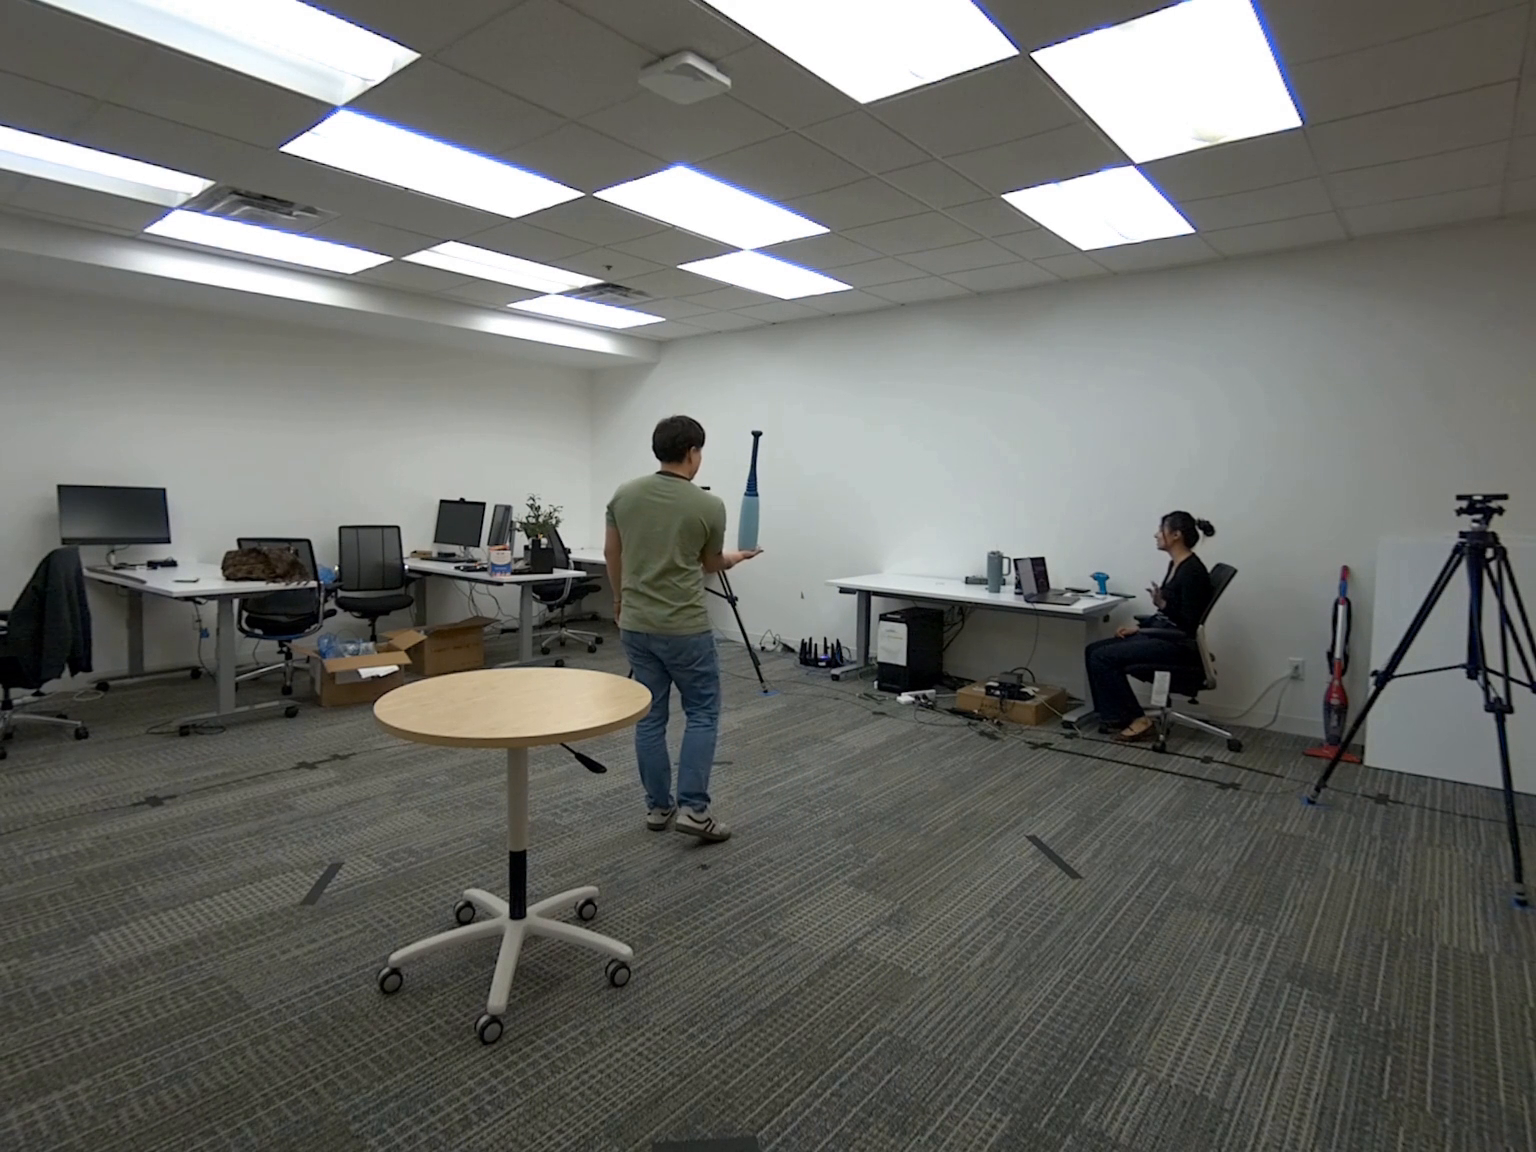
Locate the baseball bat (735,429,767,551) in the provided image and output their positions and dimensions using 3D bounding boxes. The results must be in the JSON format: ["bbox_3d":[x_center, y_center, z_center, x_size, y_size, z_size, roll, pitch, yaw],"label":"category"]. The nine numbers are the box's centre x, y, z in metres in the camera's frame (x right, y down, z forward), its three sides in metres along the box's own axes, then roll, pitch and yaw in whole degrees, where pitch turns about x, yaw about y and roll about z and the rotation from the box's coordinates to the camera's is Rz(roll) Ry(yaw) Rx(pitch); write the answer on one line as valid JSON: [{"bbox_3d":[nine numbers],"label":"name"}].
[{"bbox_3d":[-0.081,-0.382,3.776,0.089,0.539,0.090,5,8,-3],"label":"baseball bat"}]
